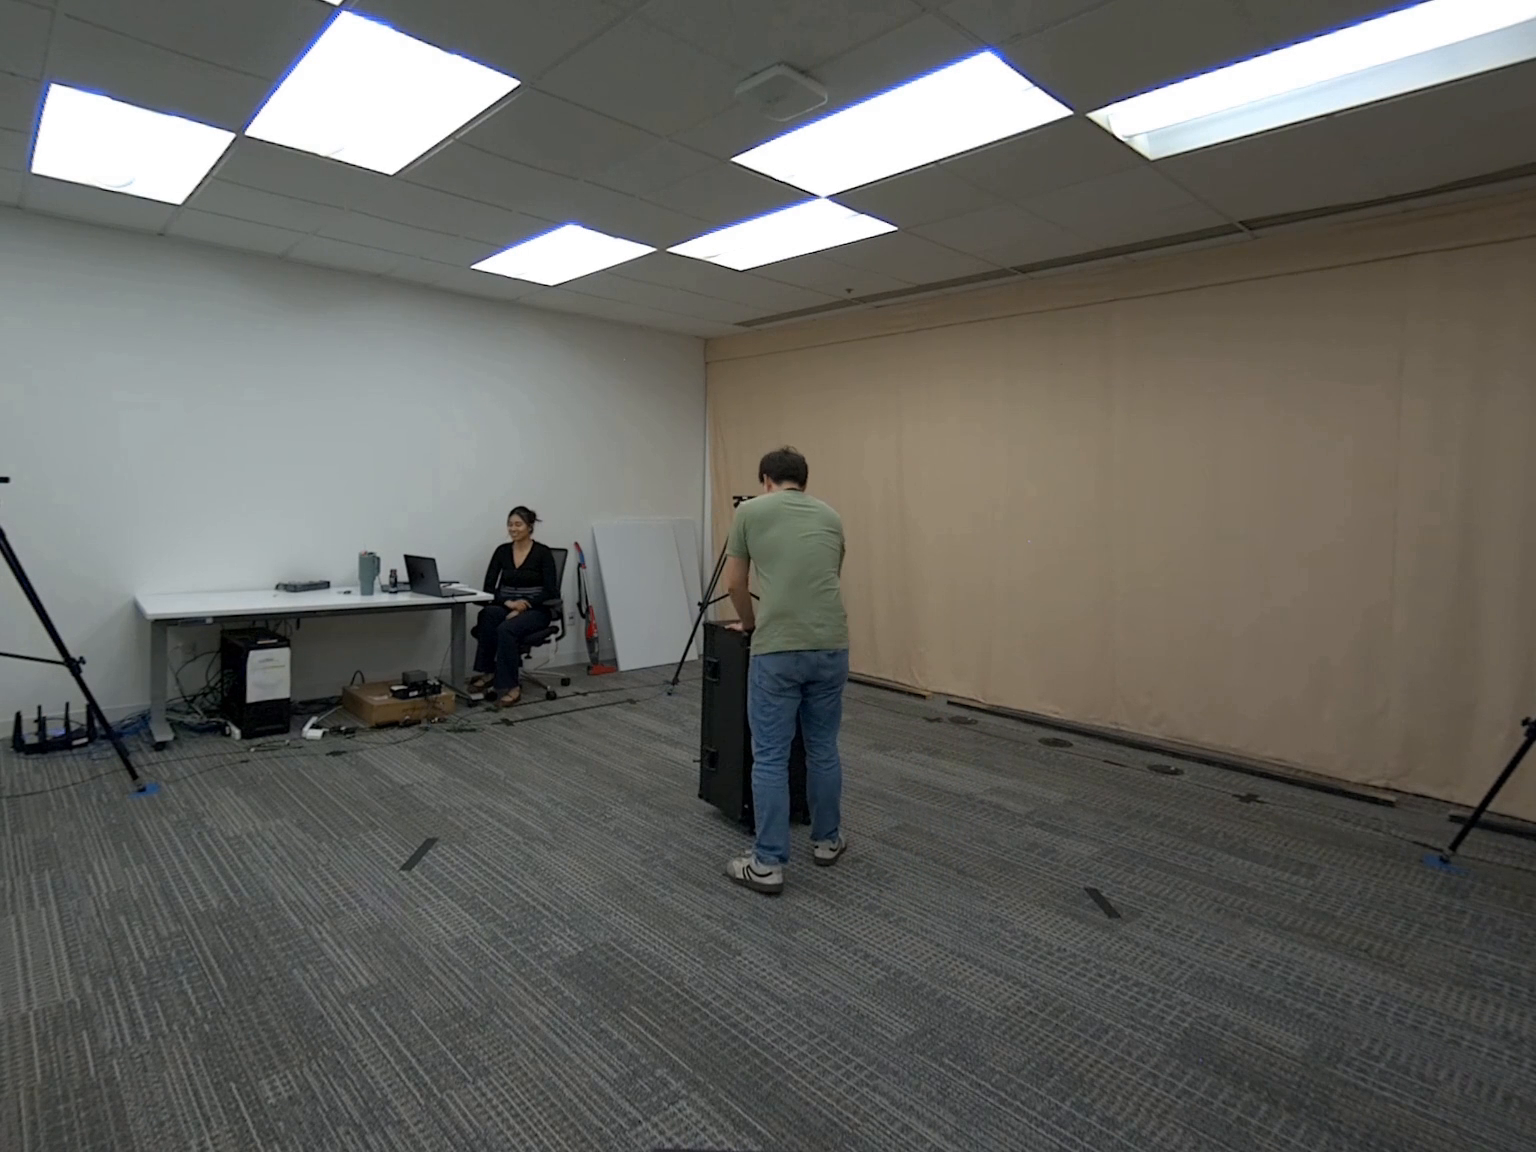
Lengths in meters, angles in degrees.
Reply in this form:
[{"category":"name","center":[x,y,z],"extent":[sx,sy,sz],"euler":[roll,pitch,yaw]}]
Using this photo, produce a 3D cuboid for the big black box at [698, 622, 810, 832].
[{"category":"big black box","center":[0.004,0.633,3.659],"extent":[0.510,0.859,0.406],"euler":[0,4,-32]}]
